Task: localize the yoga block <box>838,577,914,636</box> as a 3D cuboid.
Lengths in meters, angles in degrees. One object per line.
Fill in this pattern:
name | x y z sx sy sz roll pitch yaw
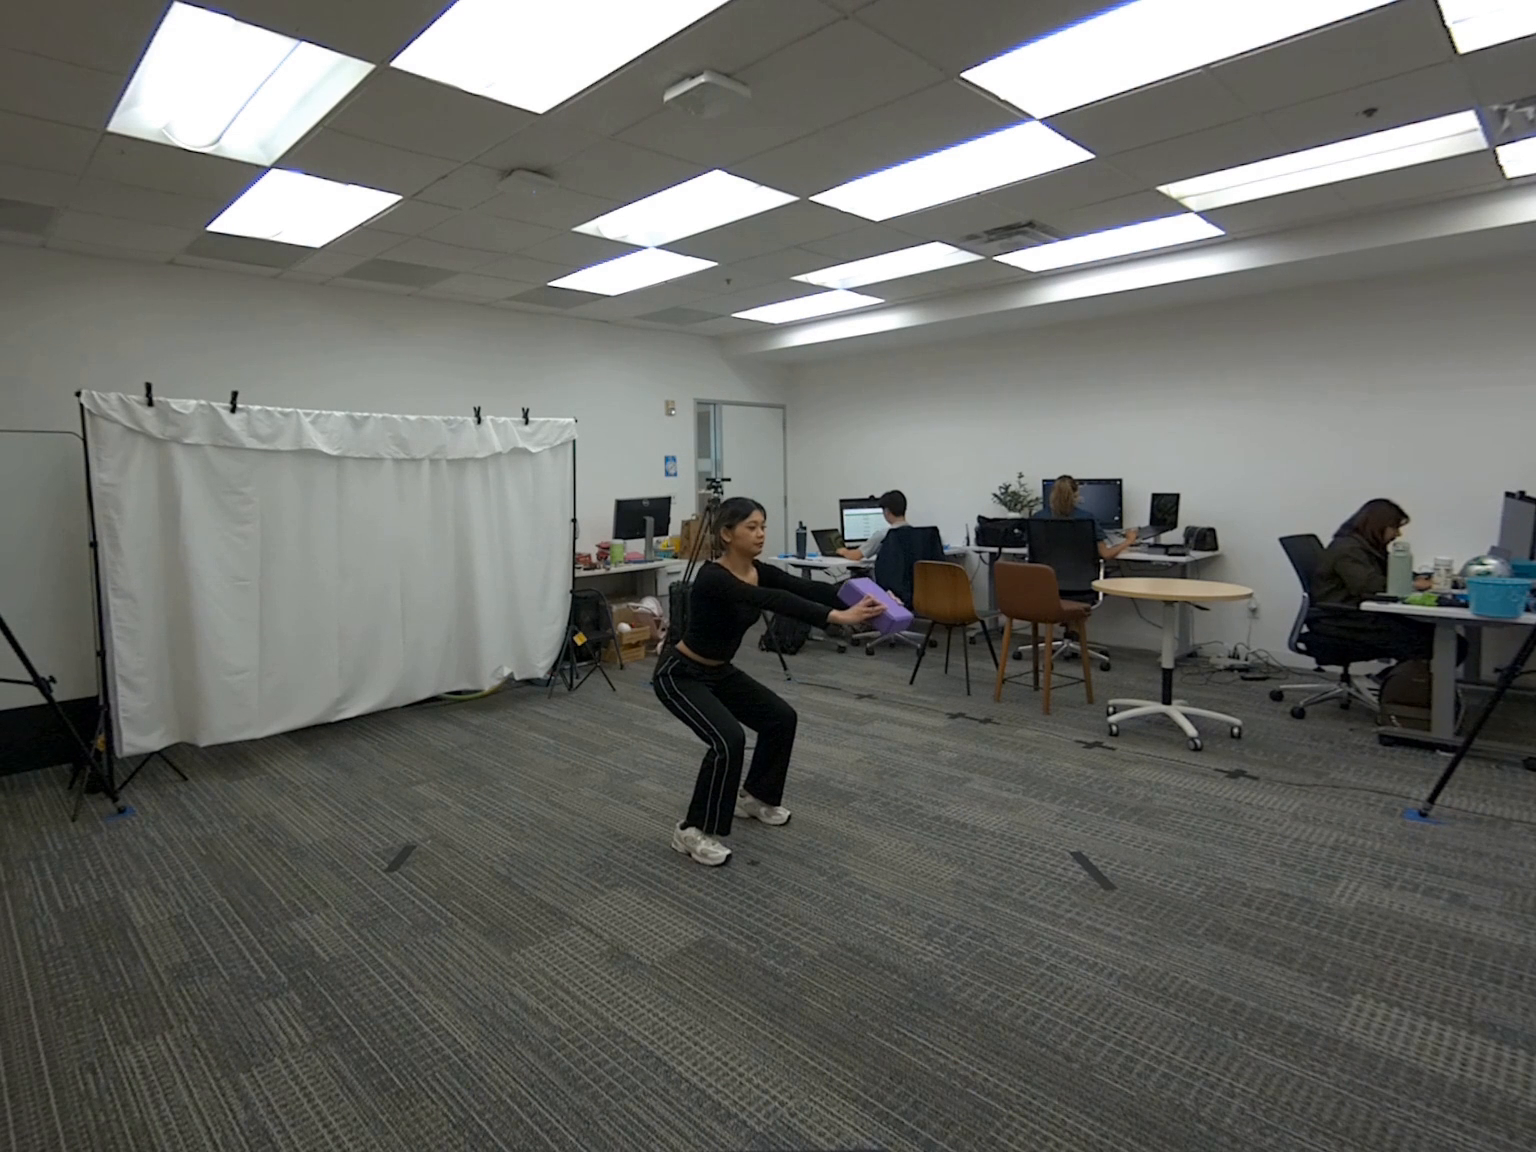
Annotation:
yoga block | 0.374 0.085 2.953 0.237 0.076 0.145 40 24 28
